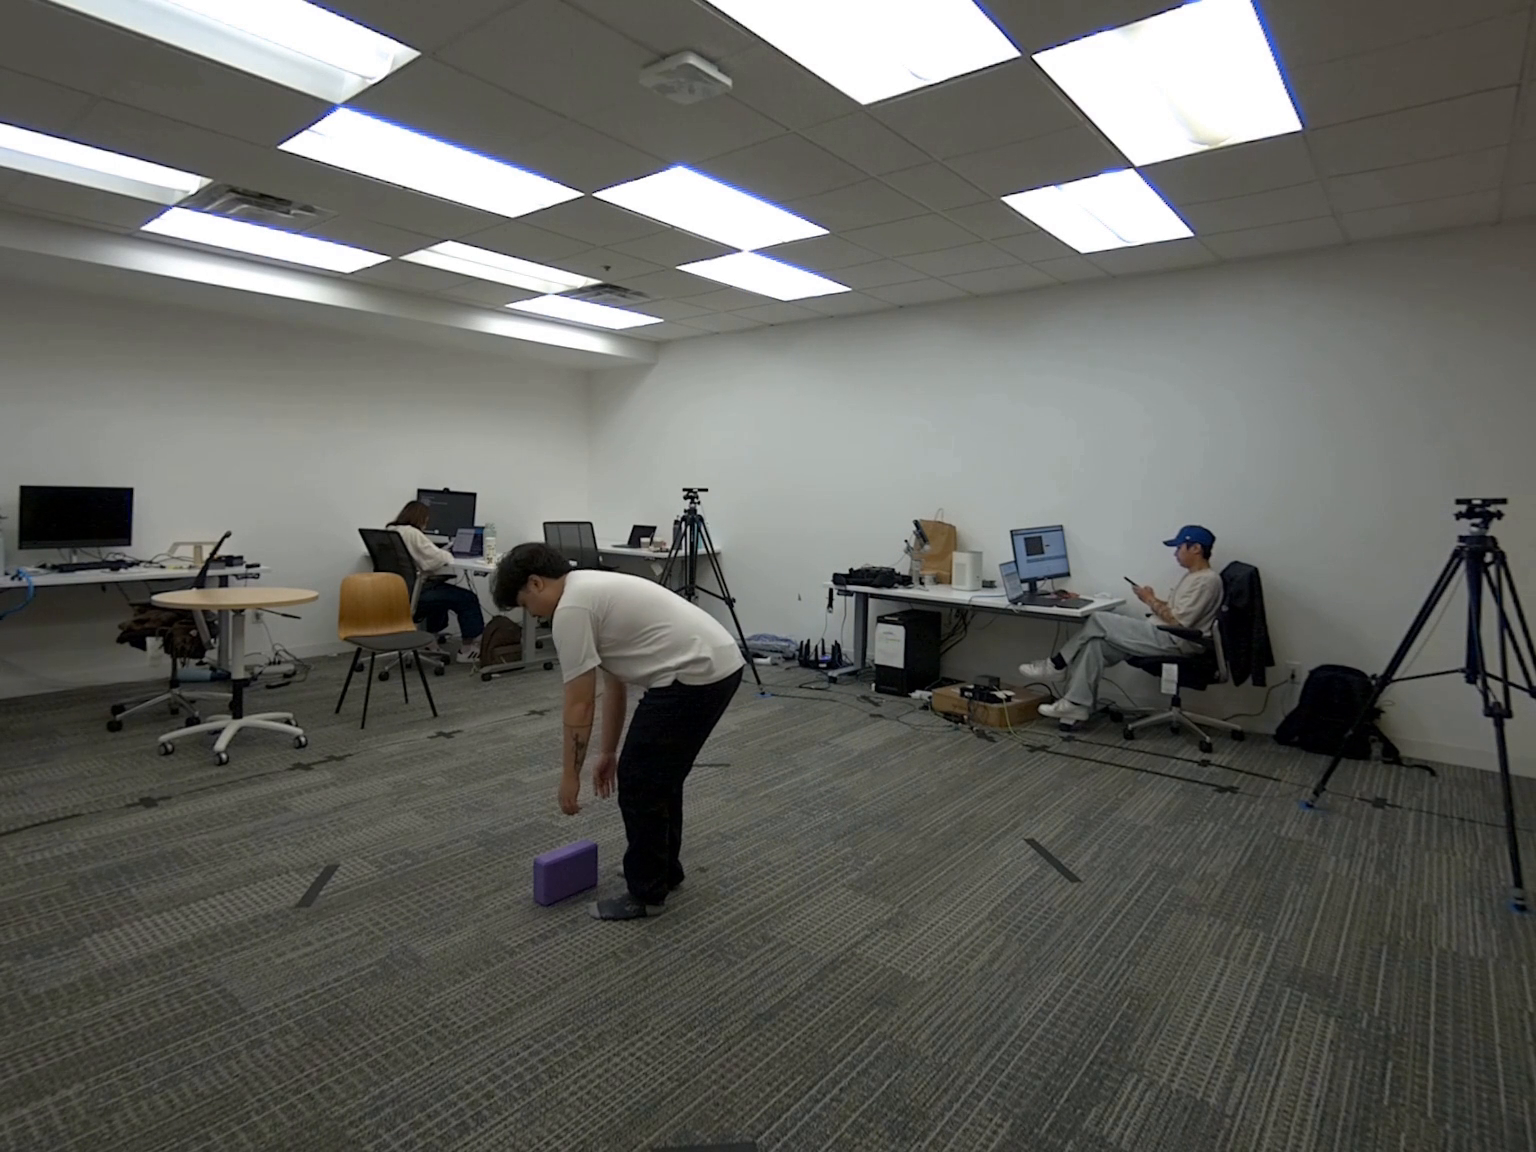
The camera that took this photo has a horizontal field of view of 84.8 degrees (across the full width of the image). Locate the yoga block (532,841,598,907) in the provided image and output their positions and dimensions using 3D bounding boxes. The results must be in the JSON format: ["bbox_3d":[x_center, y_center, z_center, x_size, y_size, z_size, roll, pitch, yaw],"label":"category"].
[{"bbox_3d":[-0.700,1.006,2.909,0.079,0.148,0.222,3,5,42],"label":"yoga block"}]
